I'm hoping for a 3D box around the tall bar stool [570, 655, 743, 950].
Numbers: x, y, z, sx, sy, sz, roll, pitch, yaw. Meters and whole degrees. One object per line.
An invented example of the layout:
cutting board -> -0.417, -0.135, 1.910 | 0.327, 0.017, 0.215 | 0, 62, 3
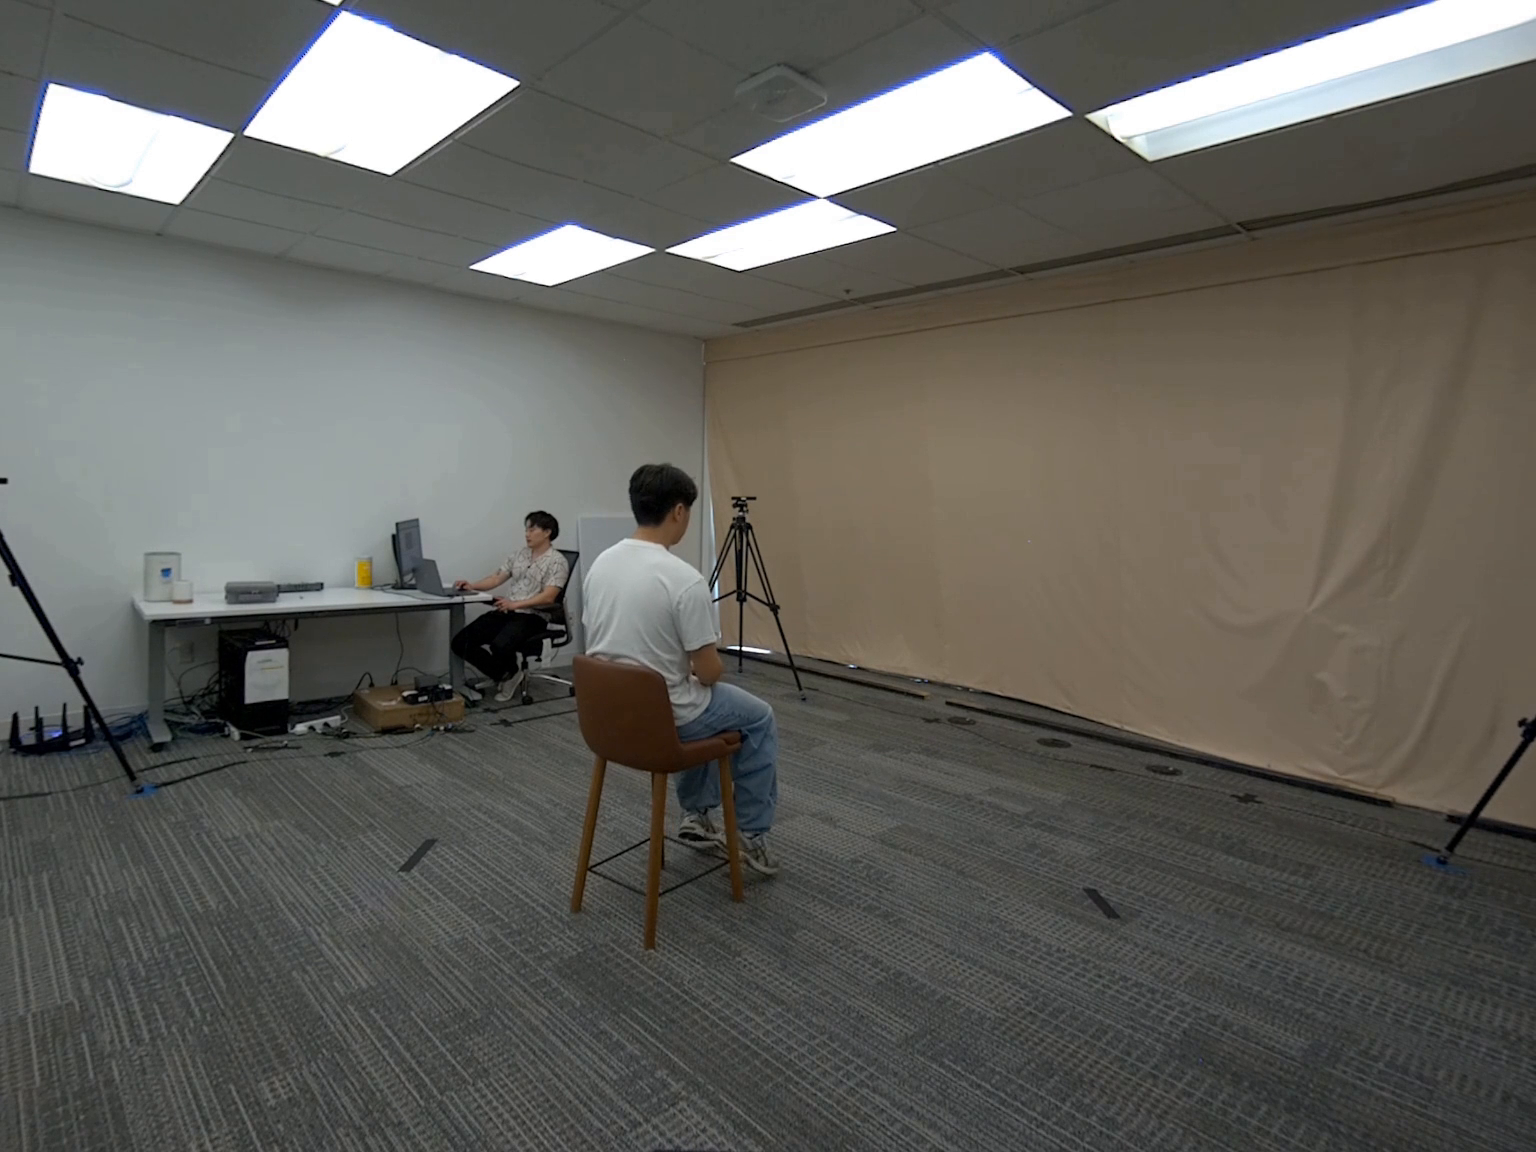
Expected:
tall bar stool -> -0.389, 0.692, 2.836 | 0.467, 0.887, 0.458 | 3, 6, 38
